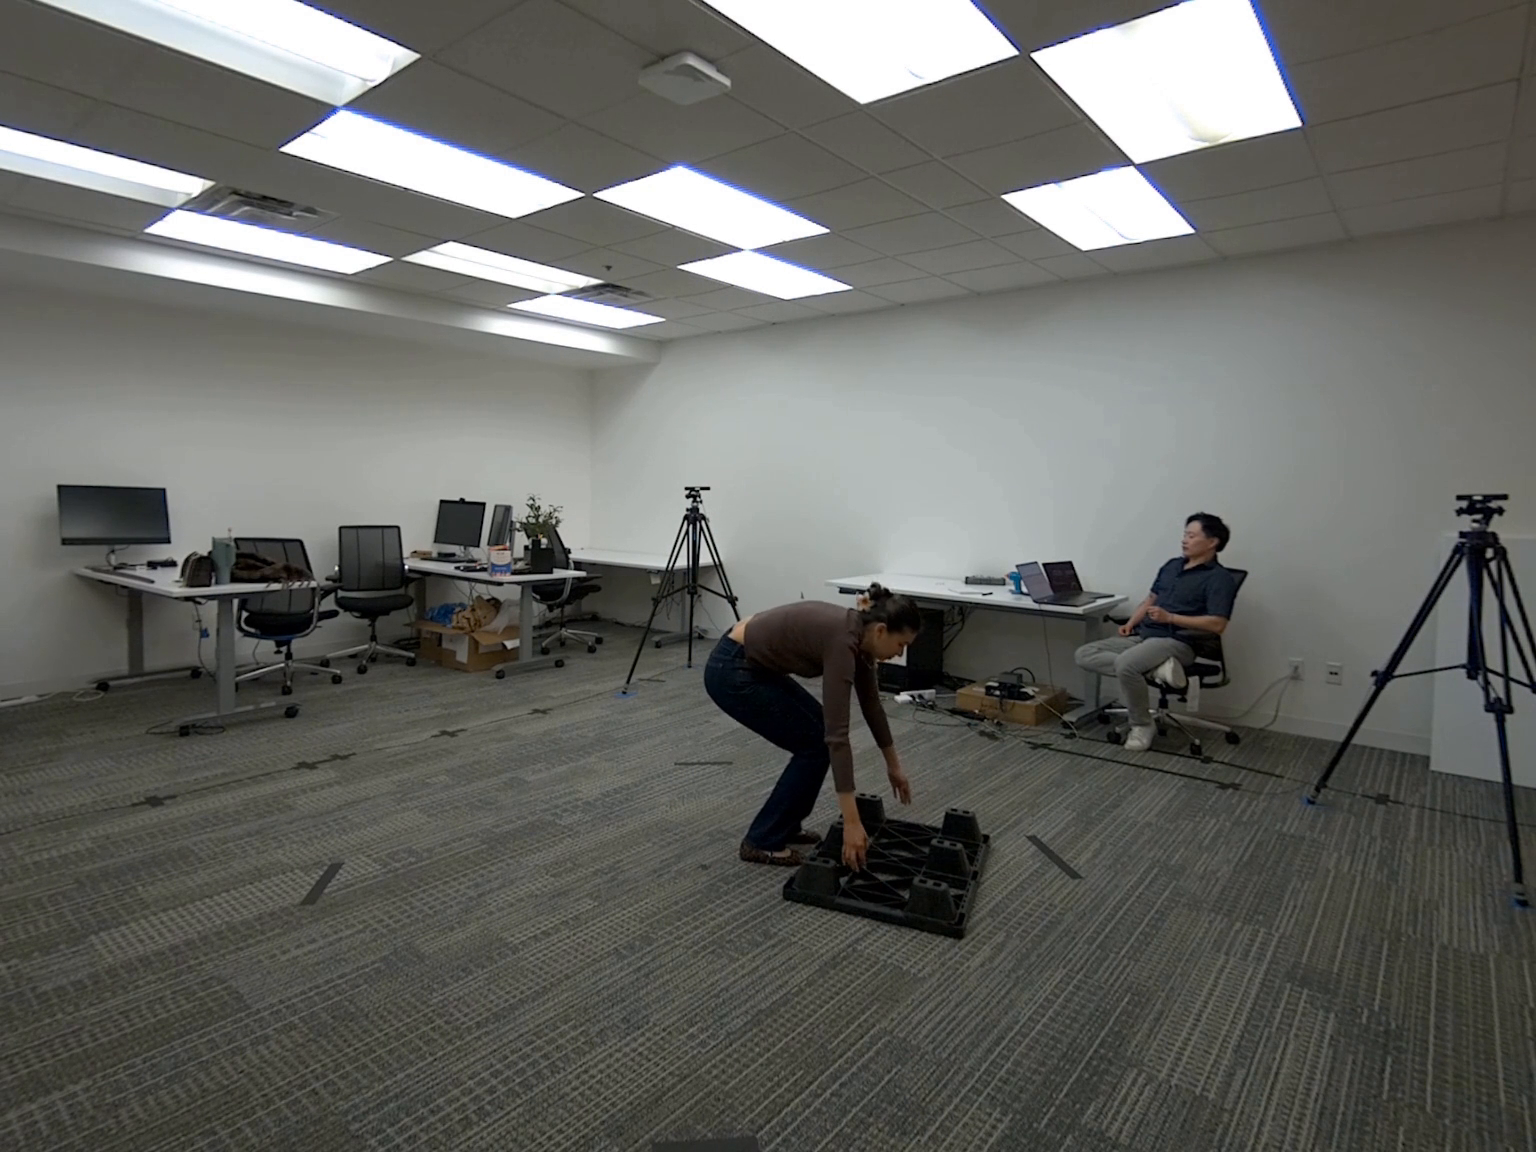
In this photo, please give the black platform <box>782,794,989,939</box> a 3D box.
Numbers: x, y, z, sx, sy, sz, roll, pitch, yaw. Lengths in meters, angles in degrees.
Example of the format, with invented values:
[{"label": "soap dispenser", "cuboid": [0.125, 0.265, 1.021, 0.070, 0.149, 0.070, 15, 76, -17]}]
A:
[{"label": "black platform", "cuboid": [0.463, 1.011, 3.116, 0.619, 0.143, 0.791, 3, 6, 21]}]
